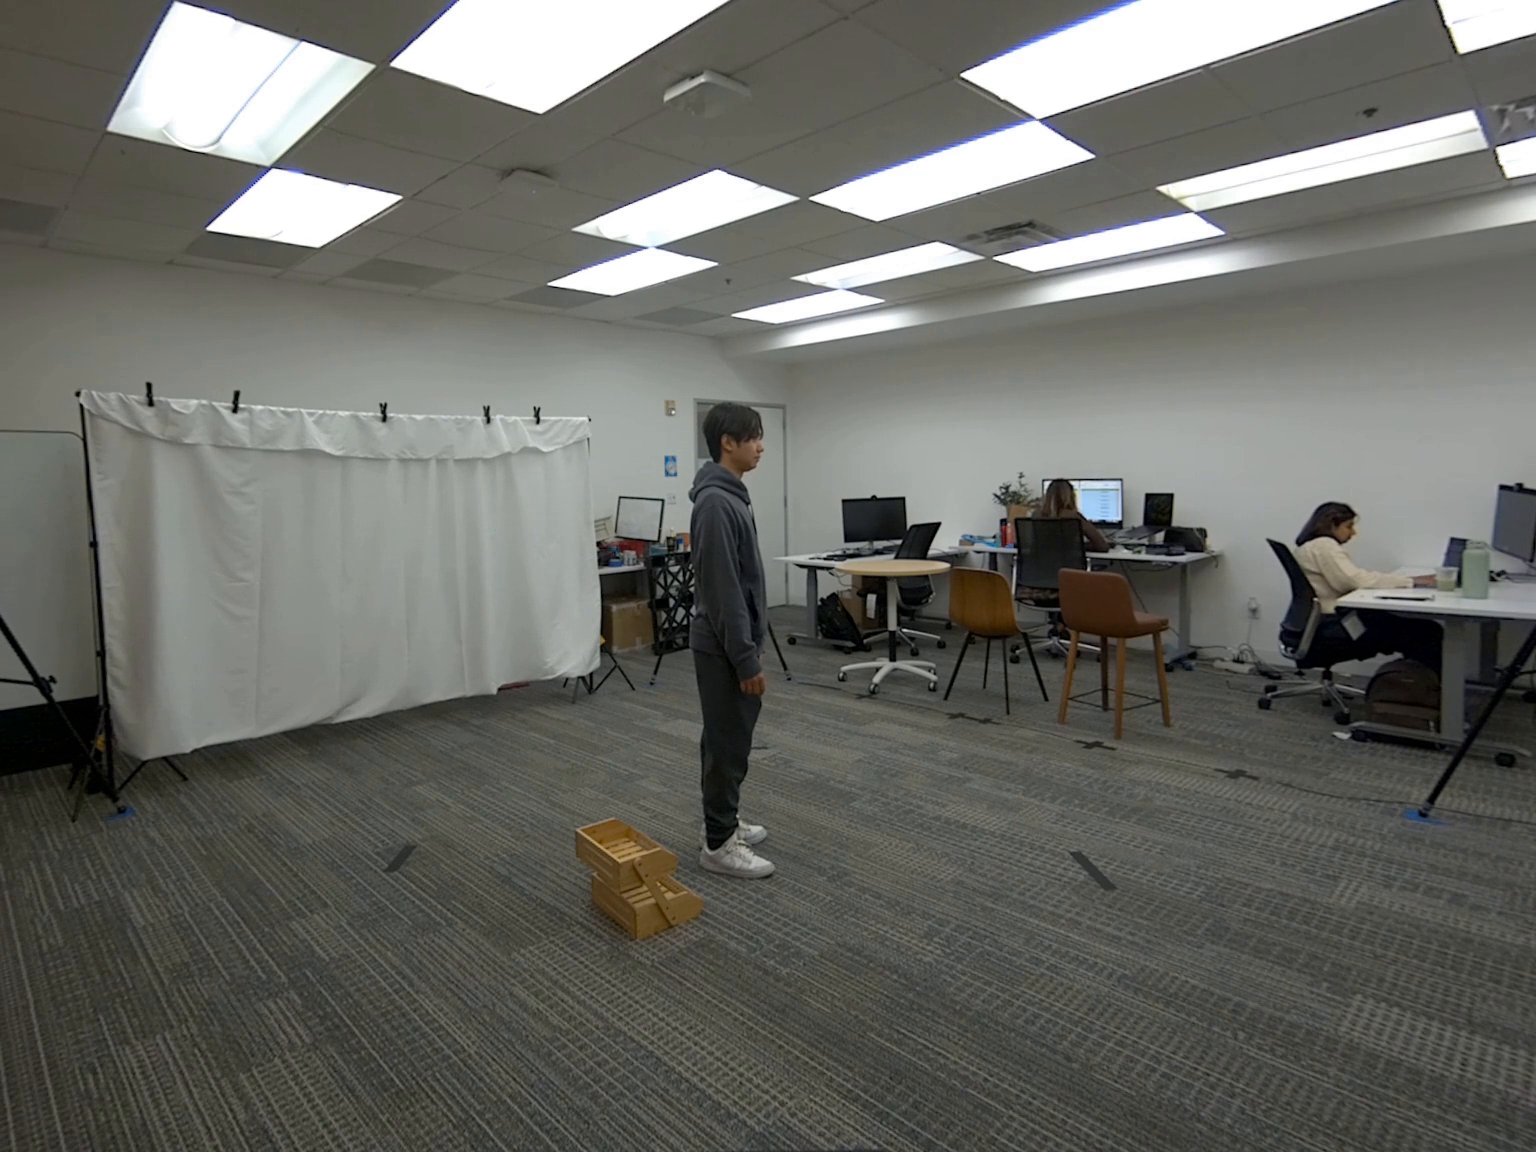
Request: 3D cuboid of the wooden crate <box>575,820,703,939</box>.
[{"bbox_3d":[-0.415,0.954,2.771,0.294,0.272,0.334,-6,8,-37],"label":"wooden crate"}]
